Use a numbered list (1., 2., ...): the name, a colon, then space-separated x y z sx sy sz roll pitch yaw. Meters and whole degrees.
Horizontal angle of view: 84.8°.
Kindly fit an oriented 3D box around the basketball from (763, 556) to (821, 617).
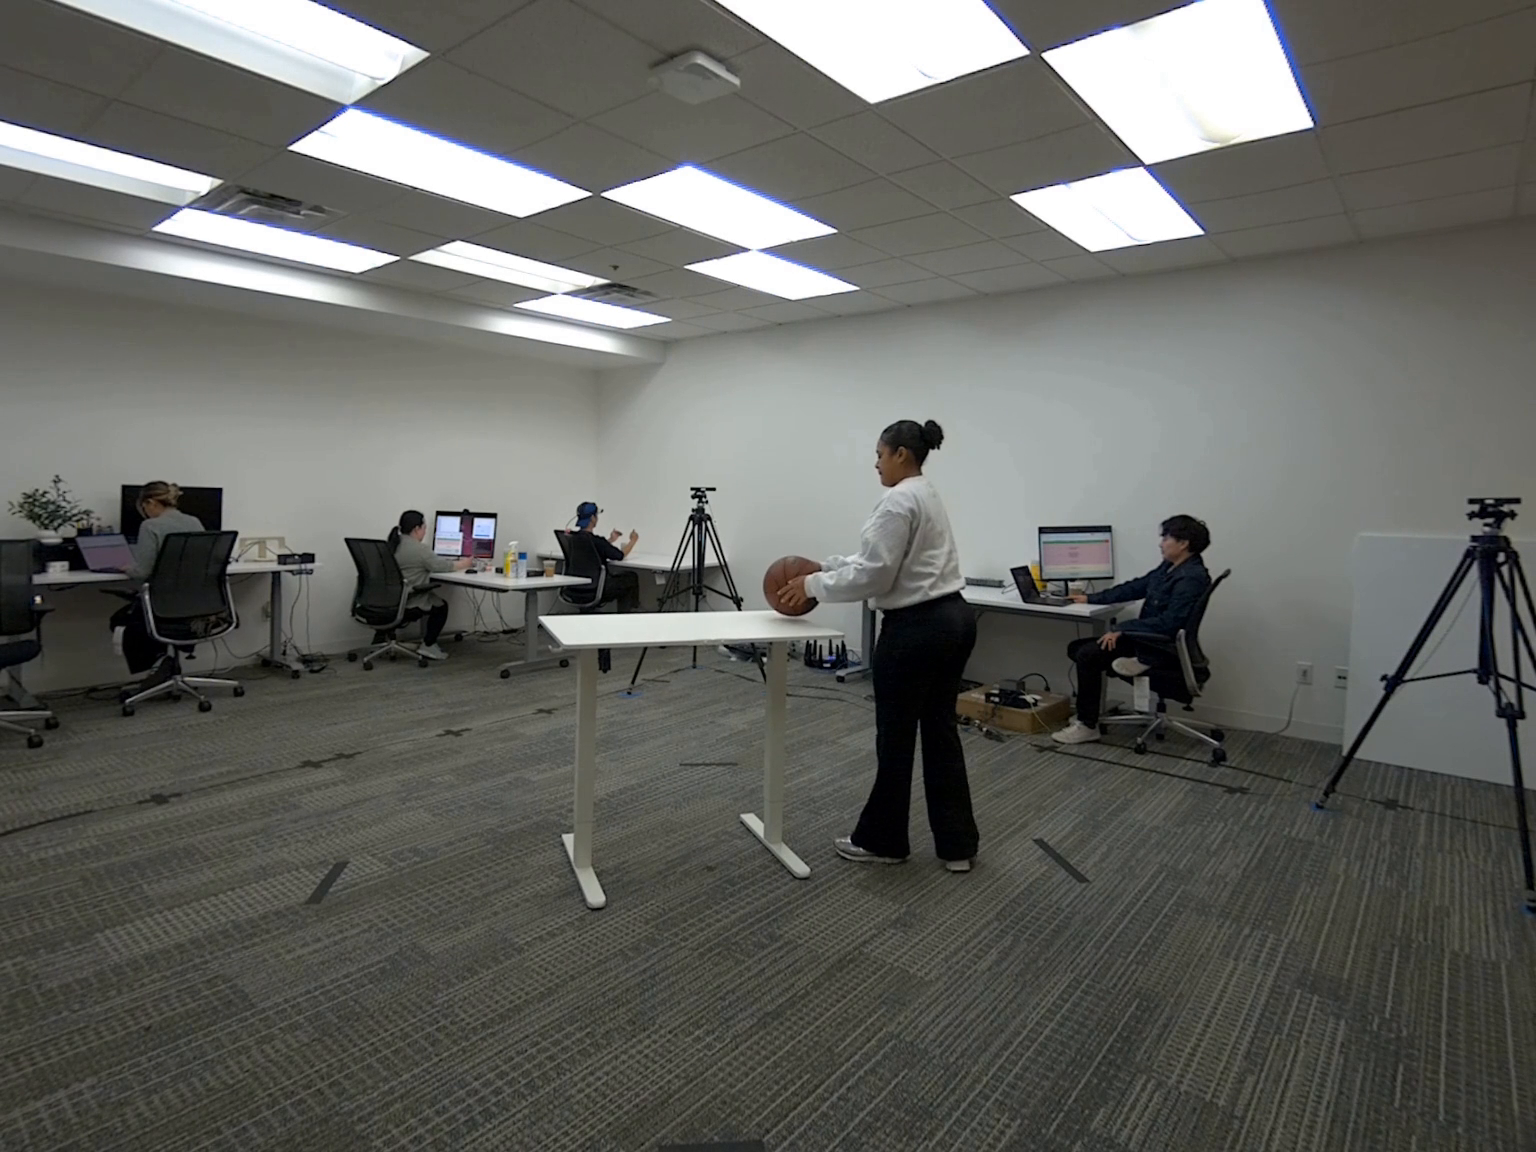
1. basketball: 0.112 0.032 3.362 0.235 0.235 0.237 1 4 -2
